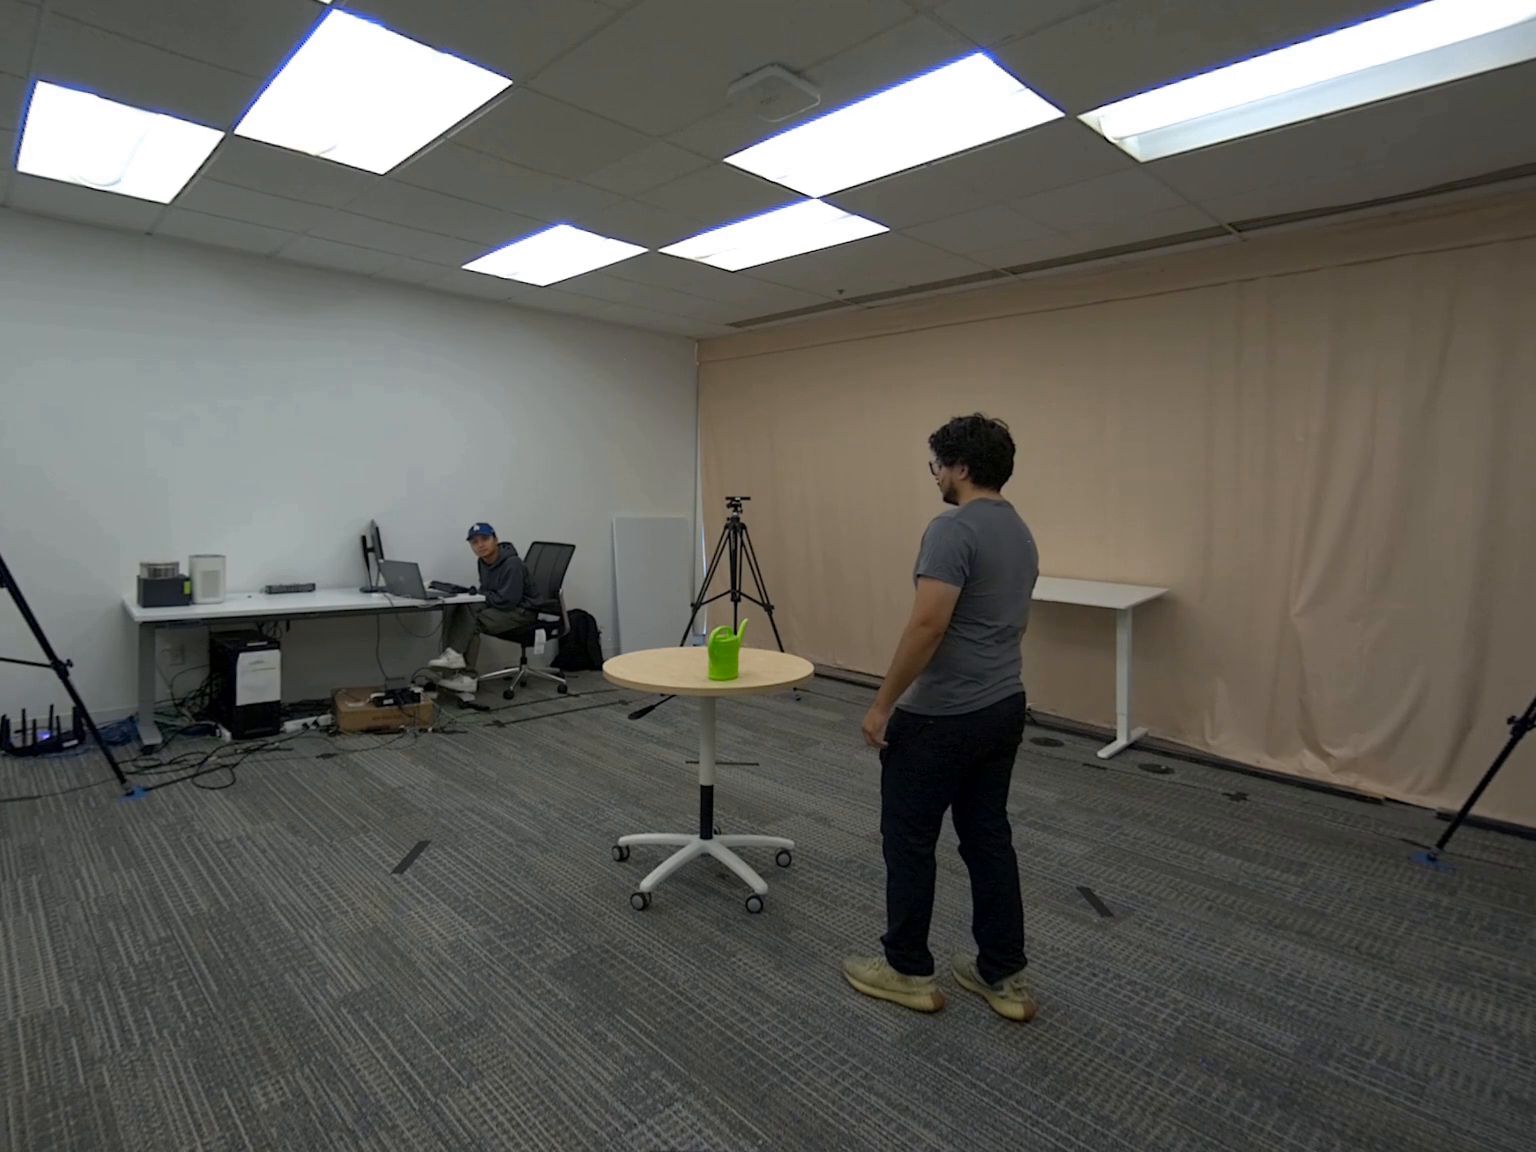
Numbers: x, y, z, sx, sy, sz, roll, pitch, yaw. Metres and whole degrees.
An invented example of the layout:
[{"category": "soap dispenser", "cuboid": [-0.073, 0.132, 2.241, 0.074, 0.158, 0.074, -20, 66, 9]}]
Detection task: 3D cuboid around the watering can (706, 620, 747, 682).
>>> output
[{"category": "watering can", "cuboid": [-0.127, 0.255, 2.879, 0.100, 0.176, 0.273, 4, 7, 36]}]
